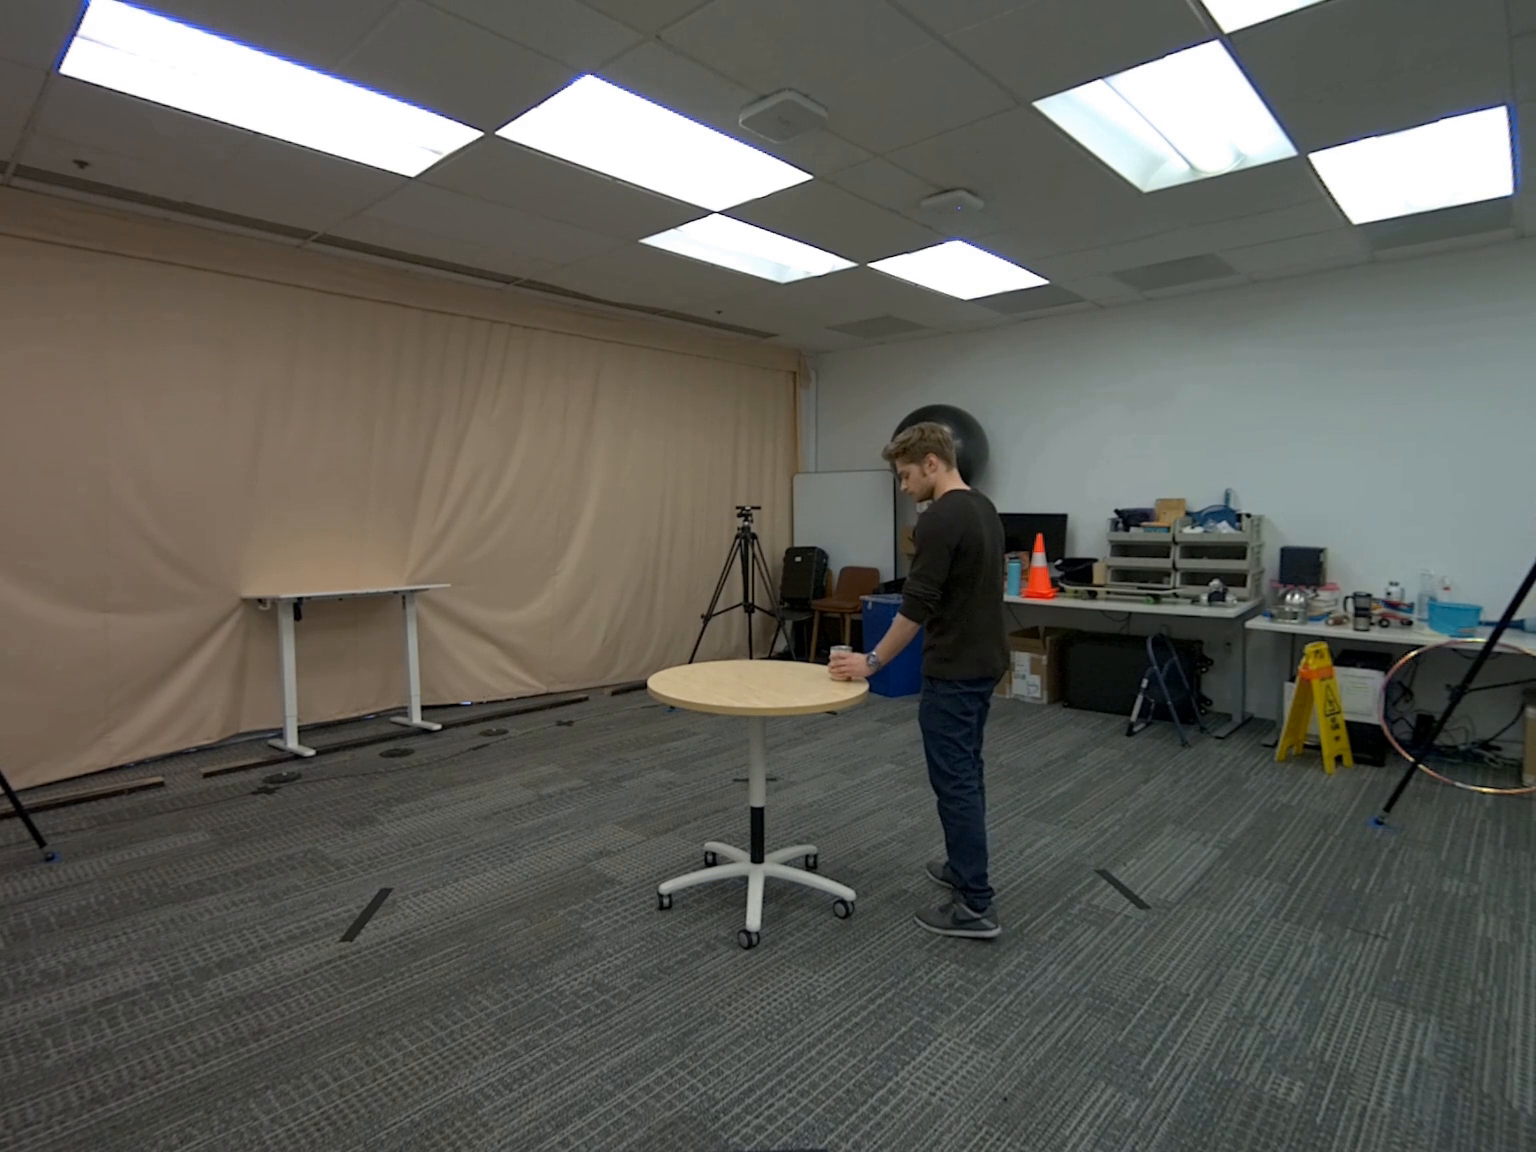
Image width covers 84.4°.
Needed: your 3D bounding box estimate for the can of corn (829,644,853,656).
[{"bbox_3d":[0.265,0.309,2.956,0.074,0.111,0.074,3,5,-2],"label":"can of corn"}]
